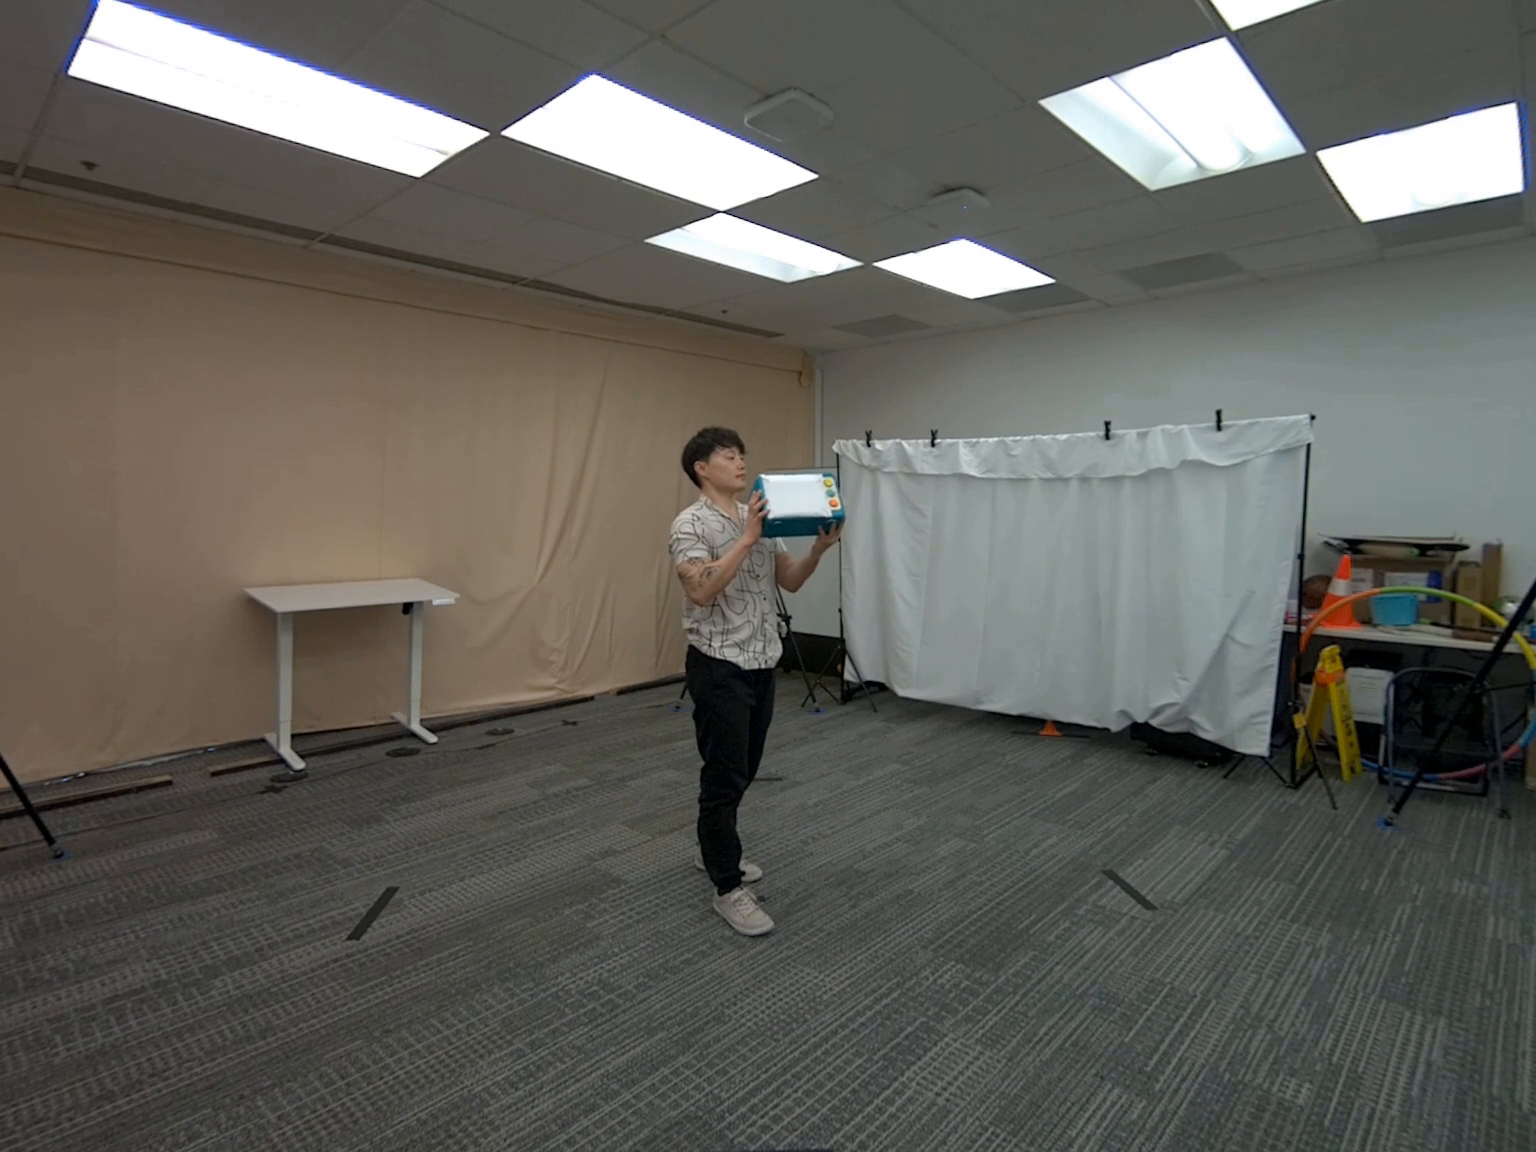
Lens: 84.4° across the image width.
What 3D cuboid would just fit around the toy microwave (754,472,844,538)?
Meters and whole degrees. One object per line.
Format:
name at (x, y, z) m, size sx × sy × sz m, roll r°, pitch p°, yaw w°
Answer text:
toy microwave at (0.102, -0.238, 2.788) m, size 0.282 × 0.187 × 0.151 m, roll -3°, pitch -27°, yaw -14°
